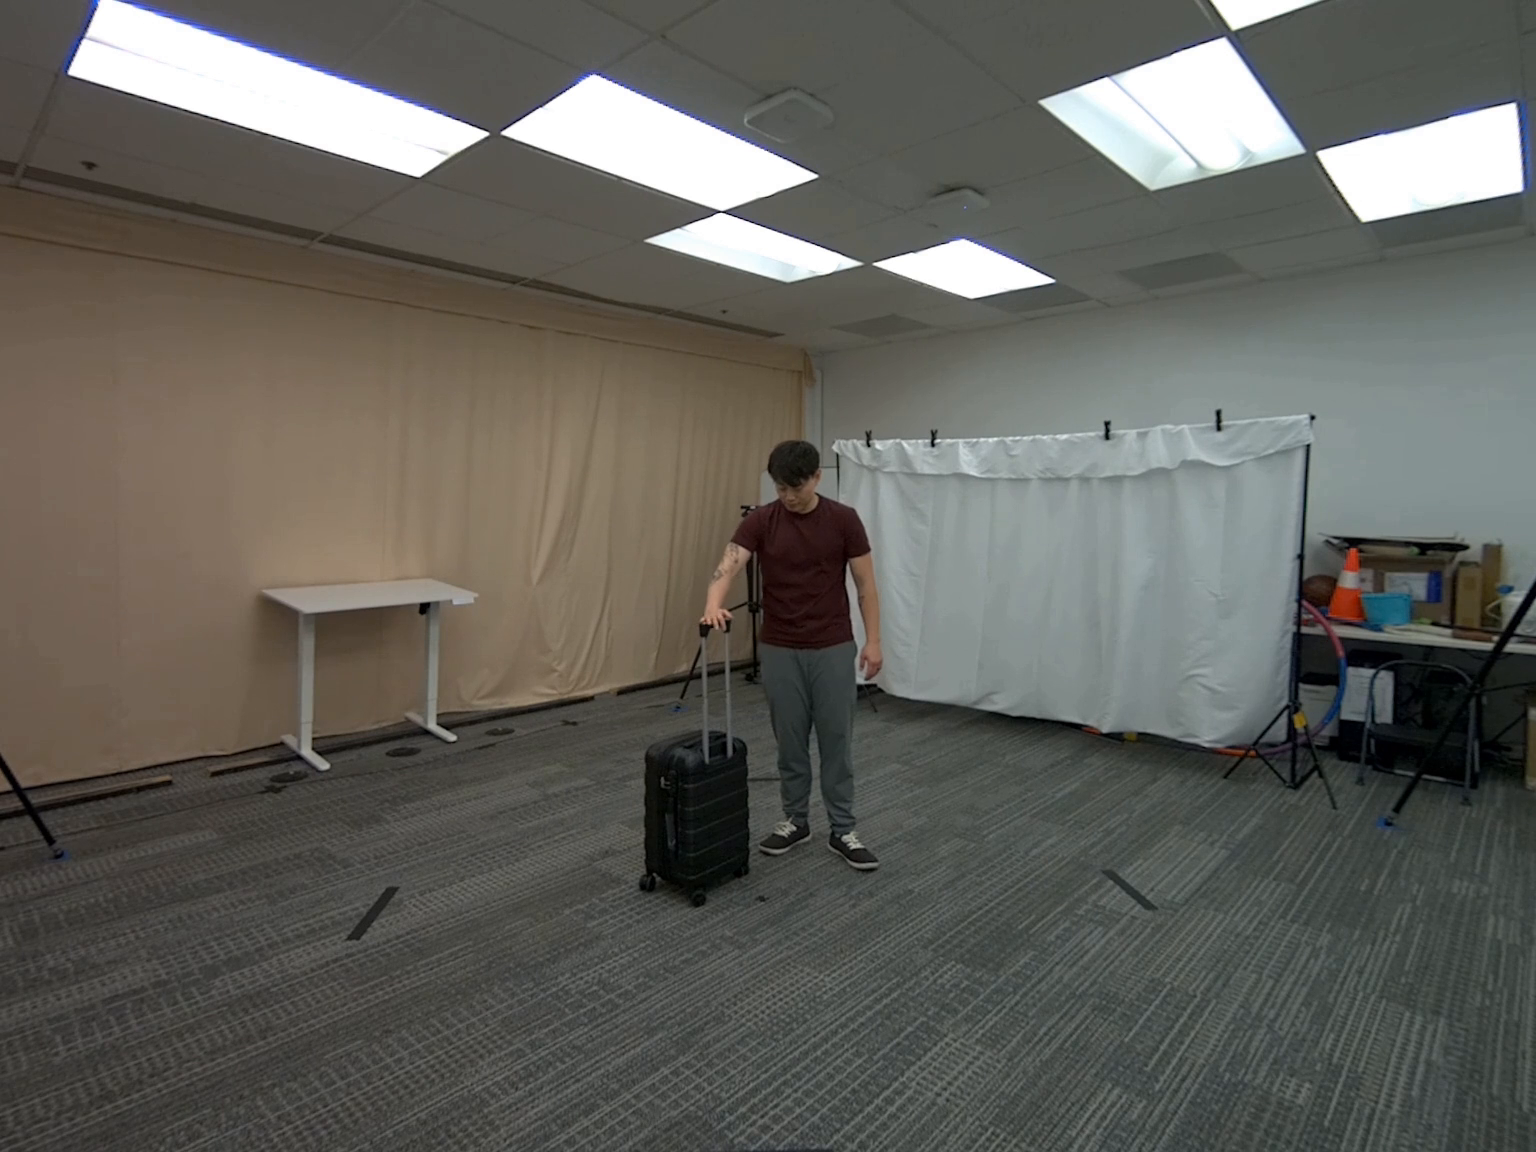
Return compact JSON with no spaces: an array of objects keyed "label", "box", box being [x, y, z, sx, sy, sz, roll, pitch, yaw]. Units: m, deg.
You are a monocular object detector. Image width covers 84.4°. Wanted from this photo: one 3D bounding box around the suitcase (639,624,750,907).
[{"label":"suitcase","box":[-0.268,0.659,3.091,0.265,0.977,0.372,0,2,39]}]
